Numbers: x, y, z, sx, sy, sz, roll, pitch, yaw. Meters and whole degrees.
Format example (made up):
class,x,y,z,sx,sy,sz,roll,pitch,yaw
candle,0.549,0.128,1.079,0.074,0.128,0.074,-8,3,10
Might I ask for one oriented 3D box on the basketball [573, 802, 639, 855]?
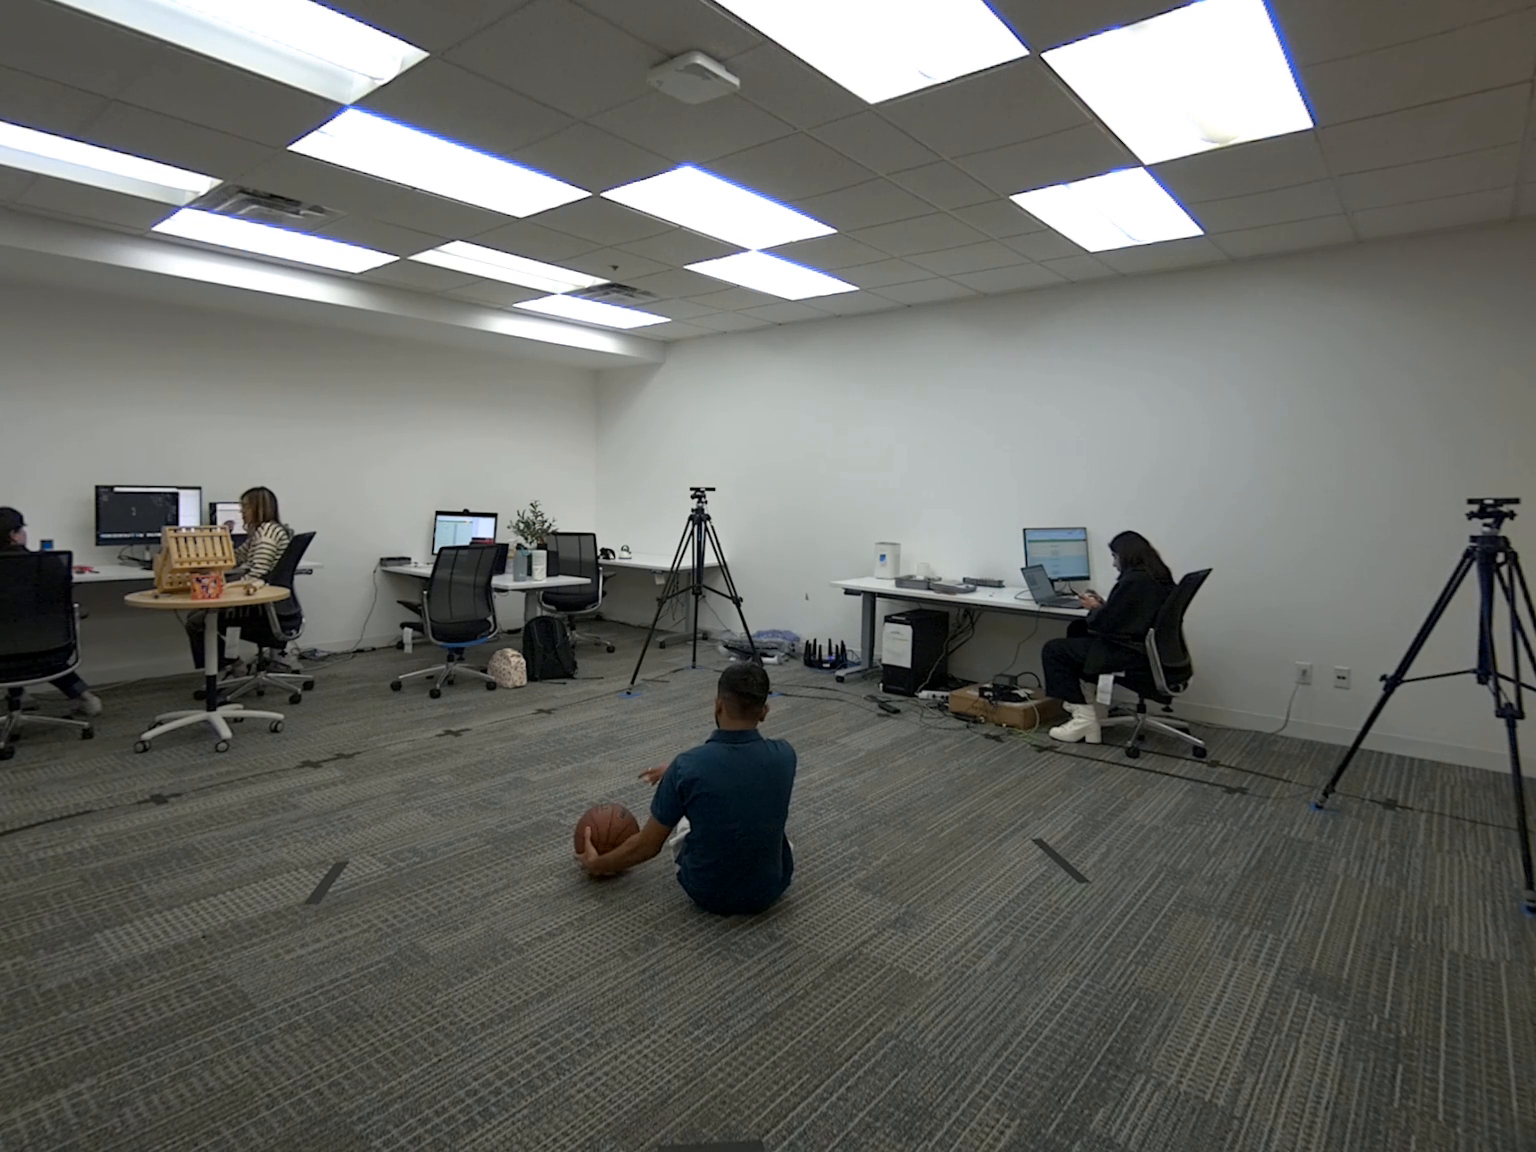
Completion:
class,x,y,z,sx,sy,sz,roll,pitch,yaw
basketball,-0.591,0.931,3.080,0.235,0.235,0.237,1,4,-2
